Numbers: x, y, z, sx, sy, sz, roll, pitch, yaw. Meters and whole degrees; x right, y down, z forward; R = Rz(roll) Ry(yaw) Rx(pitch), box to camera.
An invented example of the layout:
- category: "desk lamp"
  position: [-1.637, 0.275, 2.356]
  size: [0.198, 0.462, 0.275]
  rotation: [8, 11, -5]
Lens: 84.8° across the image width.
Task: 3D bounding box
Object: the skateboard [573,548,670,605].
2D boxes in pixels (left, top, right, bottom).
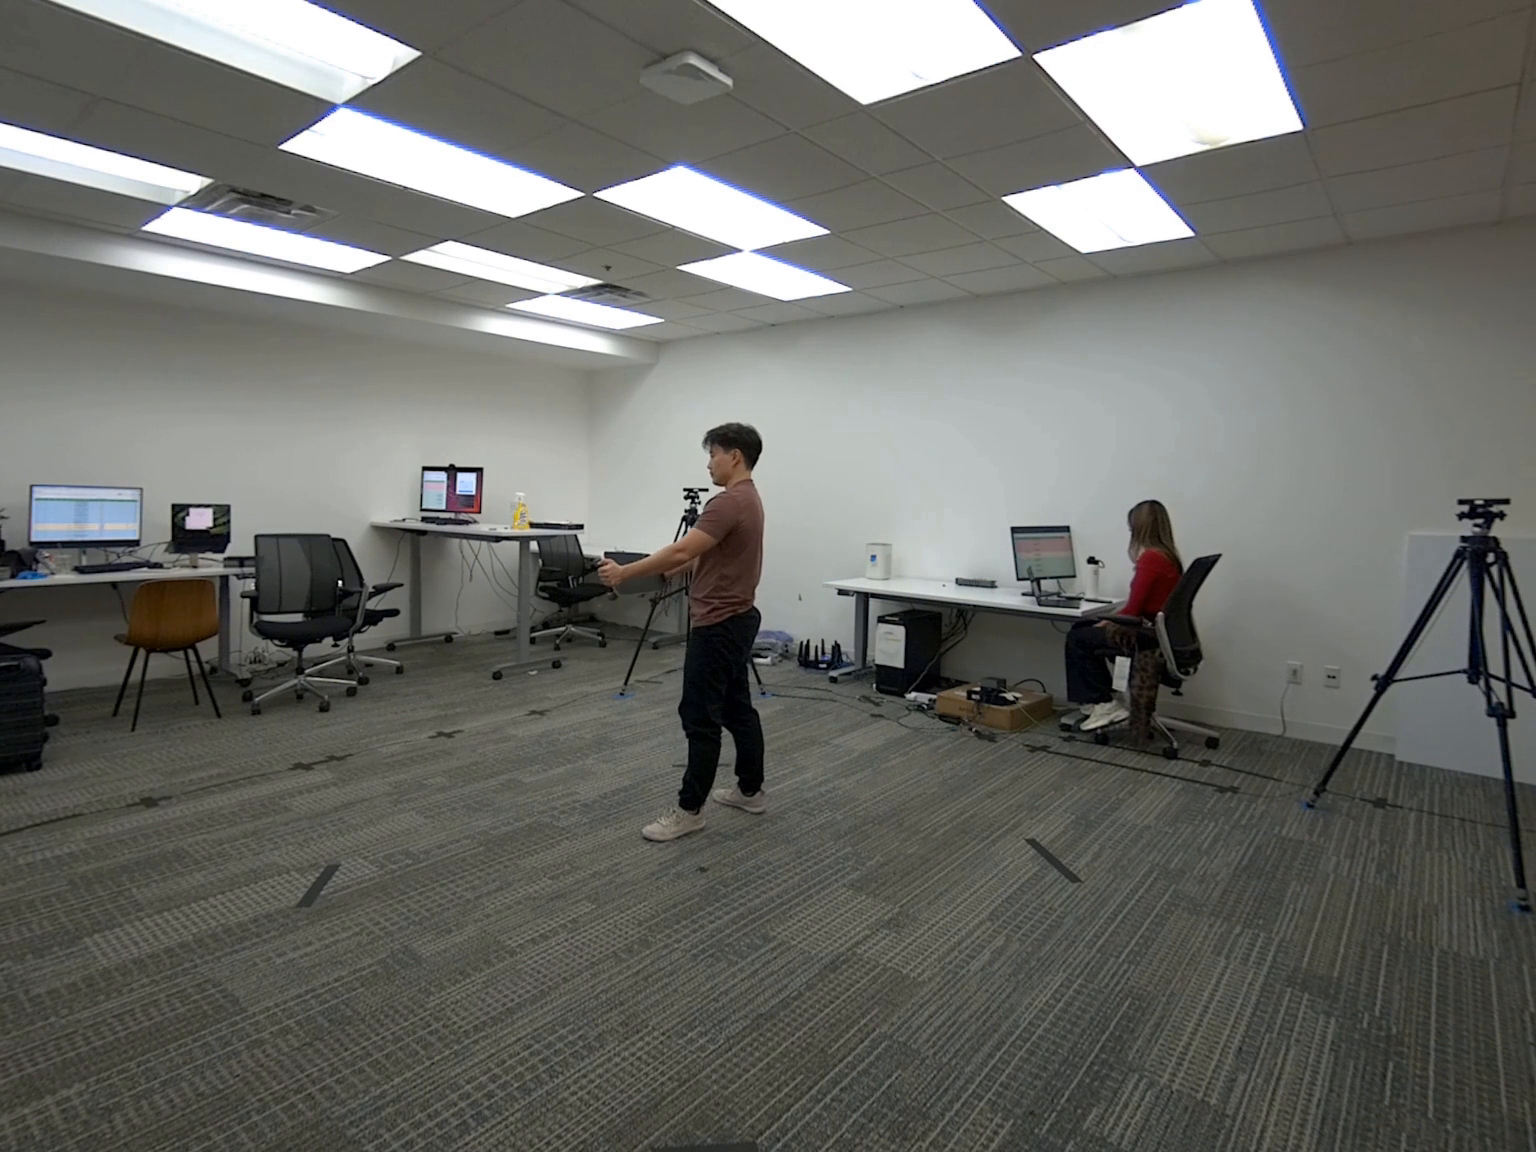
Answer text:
- category: "skateboard"
  position: [-0.622, -0.005, 3.675]
  size: [0.111, 0.195, 0.776]
  rotation: [-25, -3, 8]
